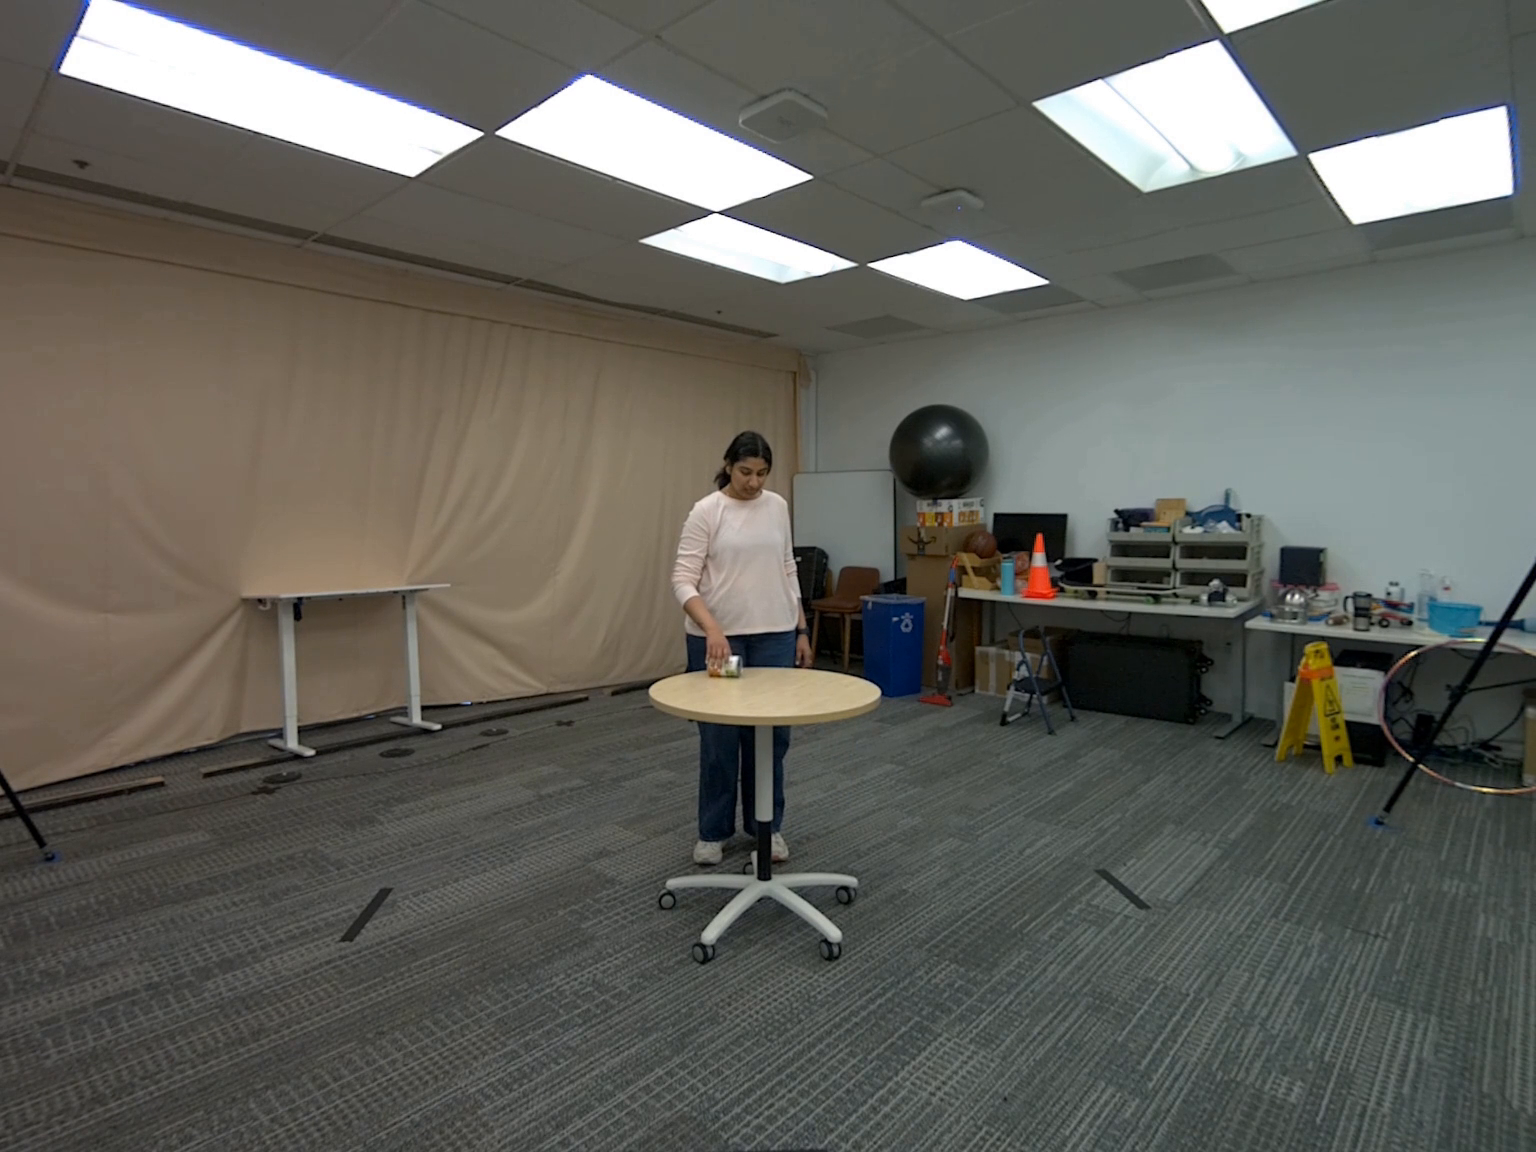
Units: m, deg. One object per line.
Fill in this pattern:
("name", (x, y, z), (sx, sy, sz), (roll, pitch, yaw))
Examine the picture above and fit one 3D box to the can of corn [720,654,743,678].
("can of corn", (-0.149, 0.322, 3.021), (0.112, 0.074, 0.074), (-2, 3, 7))
